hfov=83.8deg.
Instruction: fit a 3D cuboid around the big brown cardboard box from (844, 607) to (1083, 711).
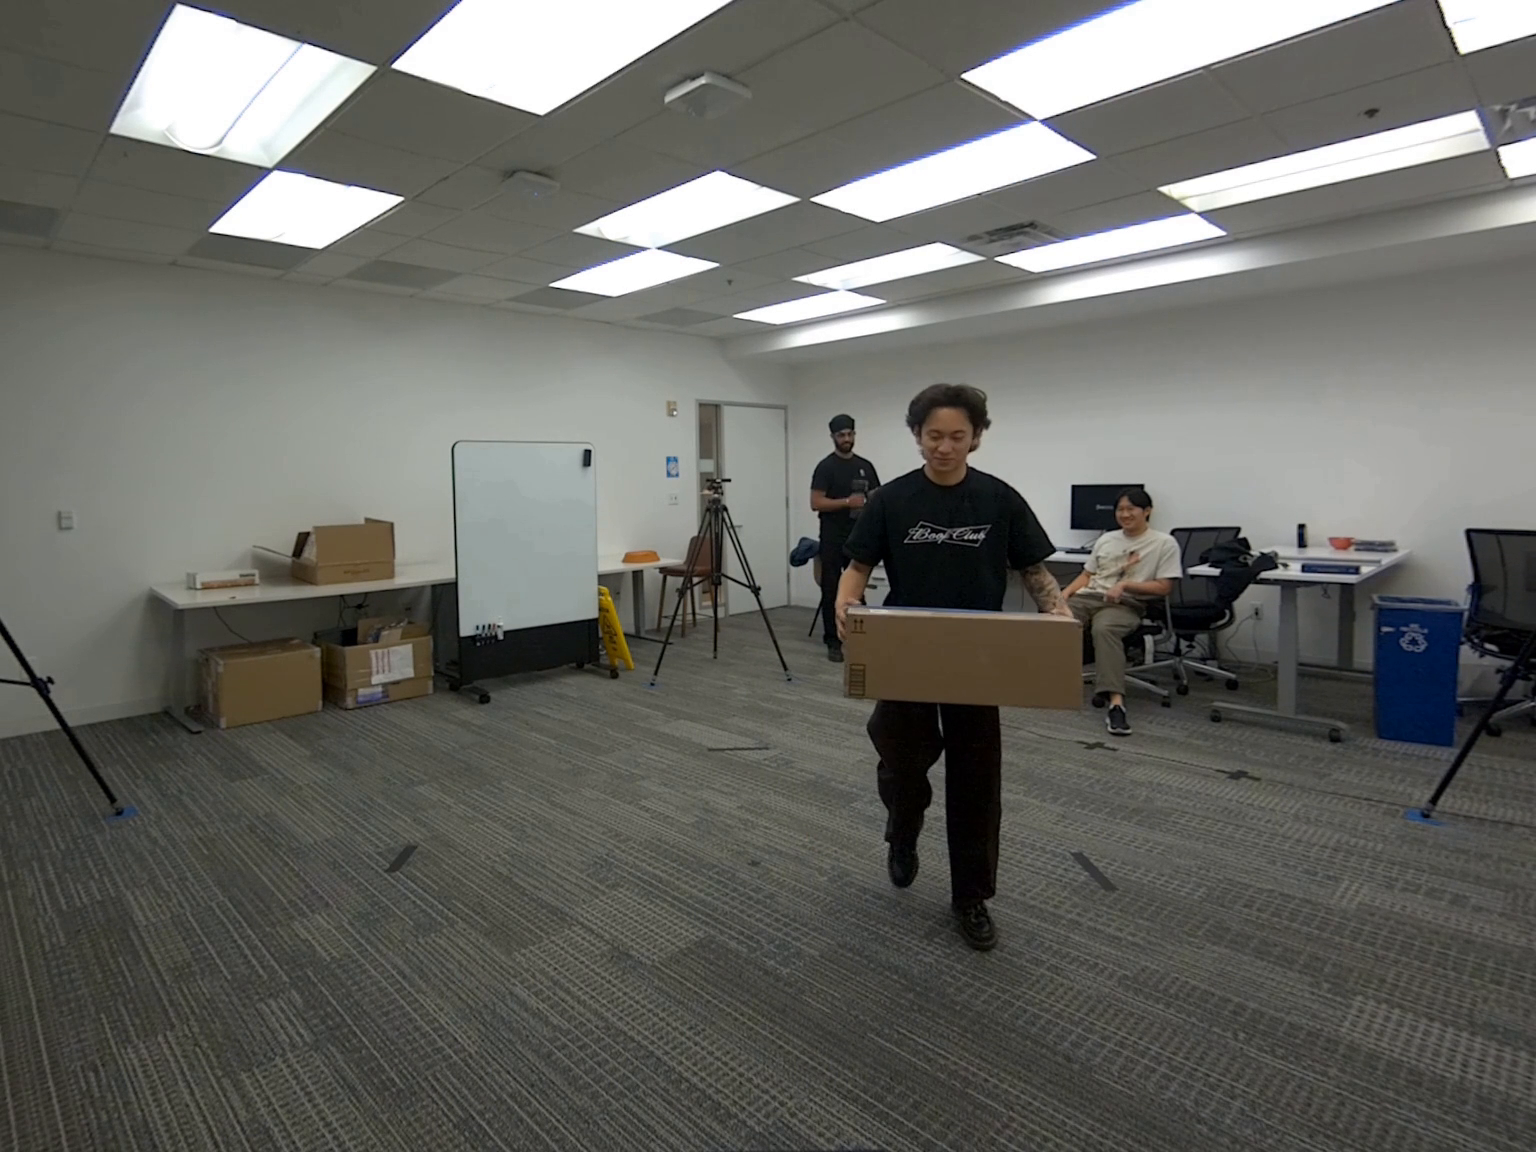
[{"bbox_3d":[0.492,0.207,2.297,0.594,0.233,0.413,2,0,9],"label":"big brown cardboard box"}]
